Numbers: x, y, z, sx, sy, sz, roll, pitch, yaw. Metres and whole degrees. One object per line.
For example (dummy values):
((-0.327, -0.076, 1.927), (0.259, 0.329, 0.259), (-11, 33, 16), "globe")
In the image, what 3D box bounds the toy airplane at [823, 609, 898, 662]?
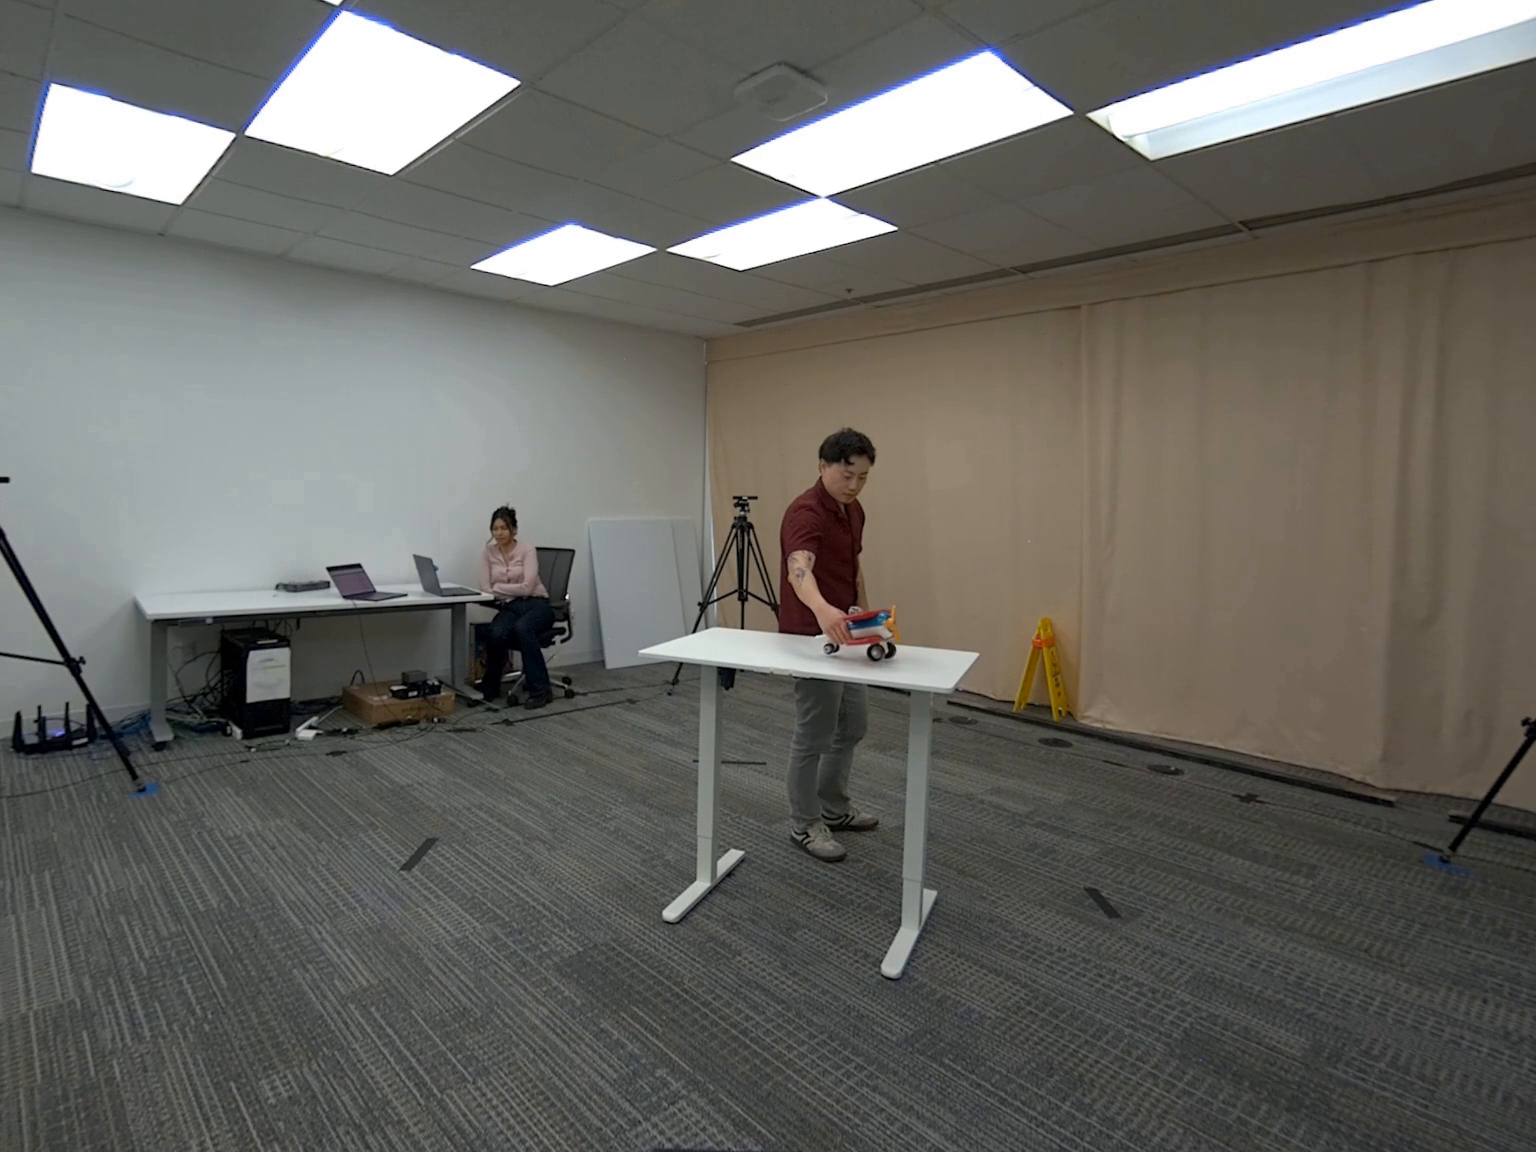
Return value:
((0.270, 0.183, 2.665), (0.260, 0.156, 0.250), (2, 4, 5), "toy airplane")
